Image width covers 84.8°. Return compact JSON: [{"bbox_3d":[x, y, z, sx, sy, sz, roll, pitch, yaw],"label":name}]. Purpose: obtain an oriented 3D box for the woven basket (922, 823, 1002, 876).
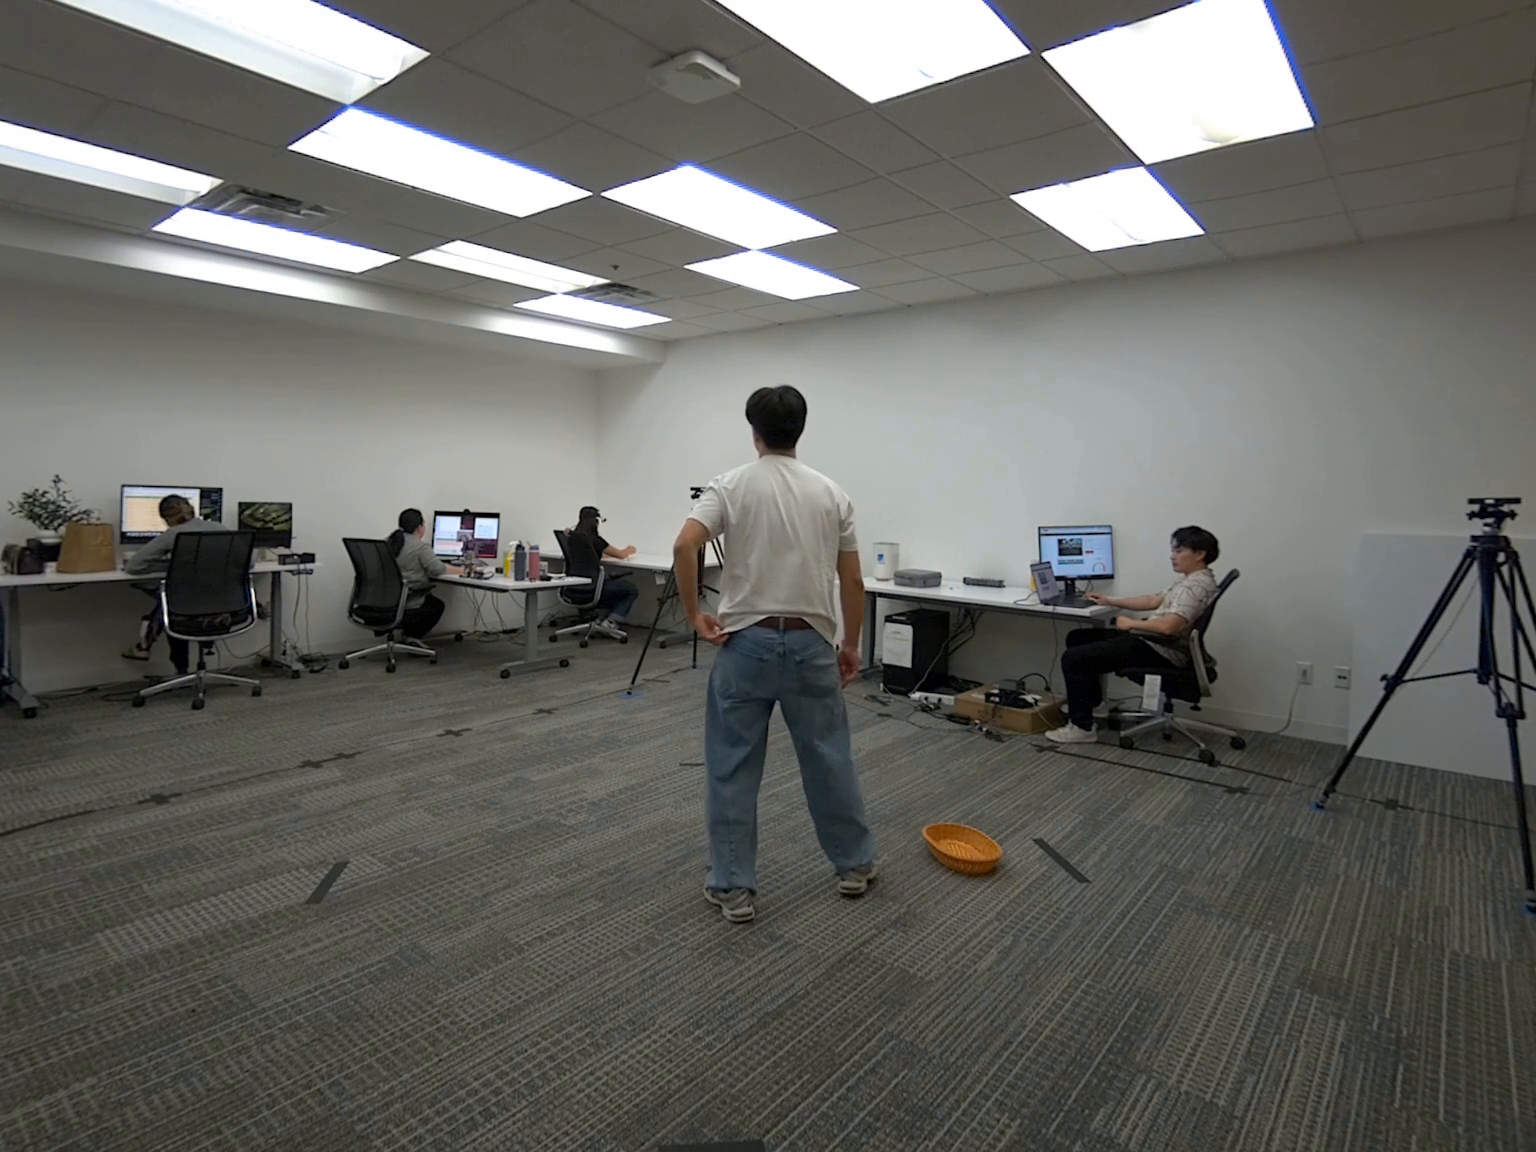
[{"bbox_3d":[0.730,1.035,3.248,0.249,0.073,0.356,0,6,-12],"label":"woven basket"}]
